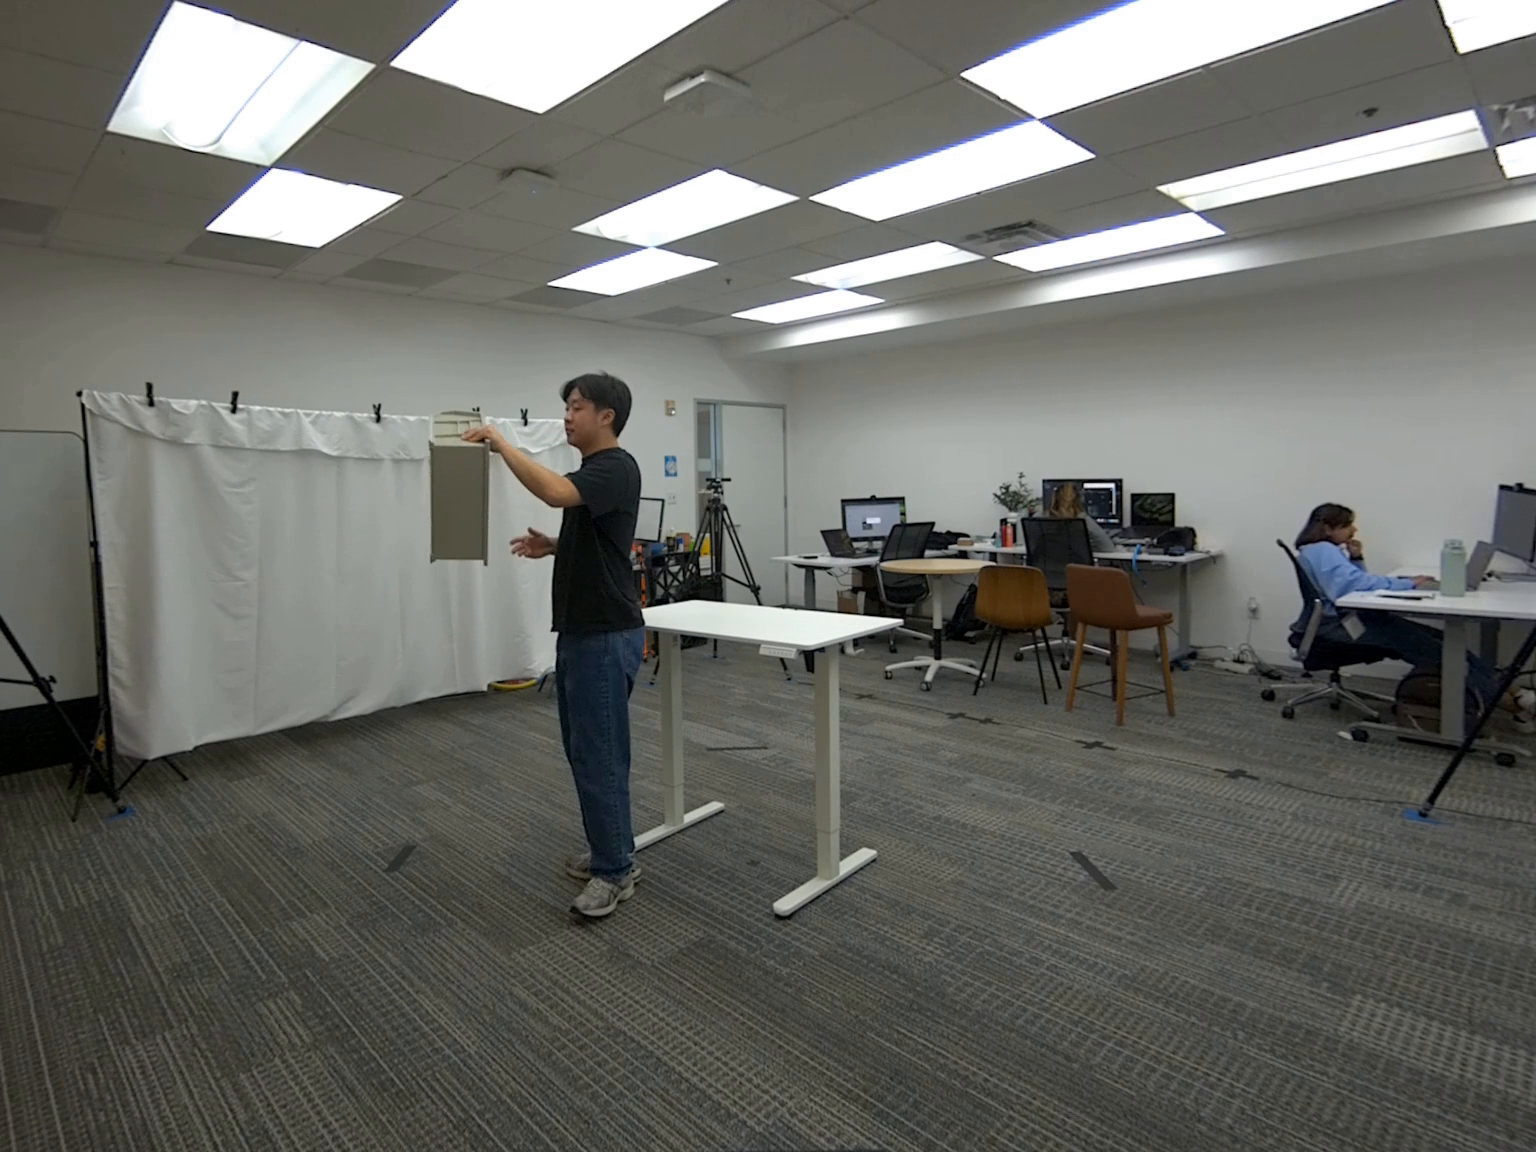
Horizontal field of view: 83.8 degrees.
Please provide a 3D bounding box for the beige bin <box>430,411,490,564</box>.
[{"bbox_3d":[-1.019,-0.299,2.845,0.186,0.416,0.390,1,23,-19],"label":"beige bin"}]
